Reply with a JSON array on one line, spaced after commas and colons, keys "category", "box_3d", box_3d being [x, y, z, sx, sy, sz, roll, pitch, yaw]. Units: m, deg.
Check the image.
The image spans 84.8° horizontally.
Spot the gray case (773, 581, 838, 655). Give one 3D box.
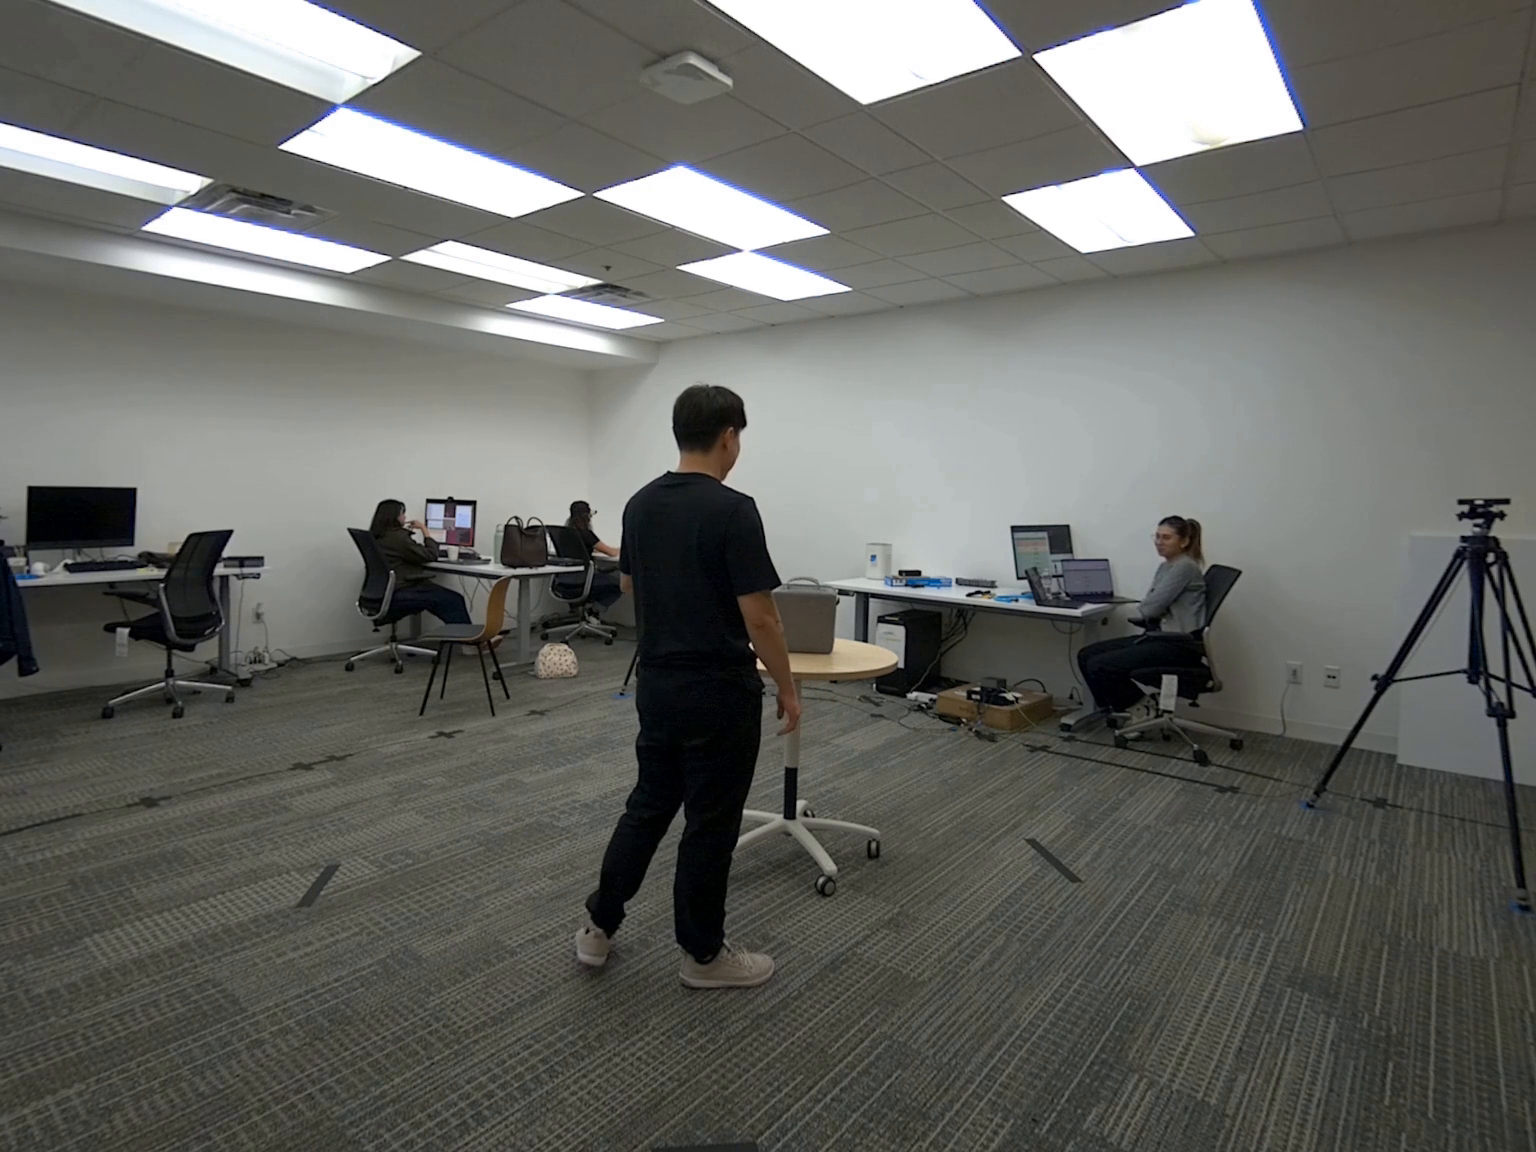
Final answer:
[{"category": "gray case", "box_3d": [0.122, 0.151, 3.199, 0.257, 0.257, 0.105, -1, 14, 1]}]
